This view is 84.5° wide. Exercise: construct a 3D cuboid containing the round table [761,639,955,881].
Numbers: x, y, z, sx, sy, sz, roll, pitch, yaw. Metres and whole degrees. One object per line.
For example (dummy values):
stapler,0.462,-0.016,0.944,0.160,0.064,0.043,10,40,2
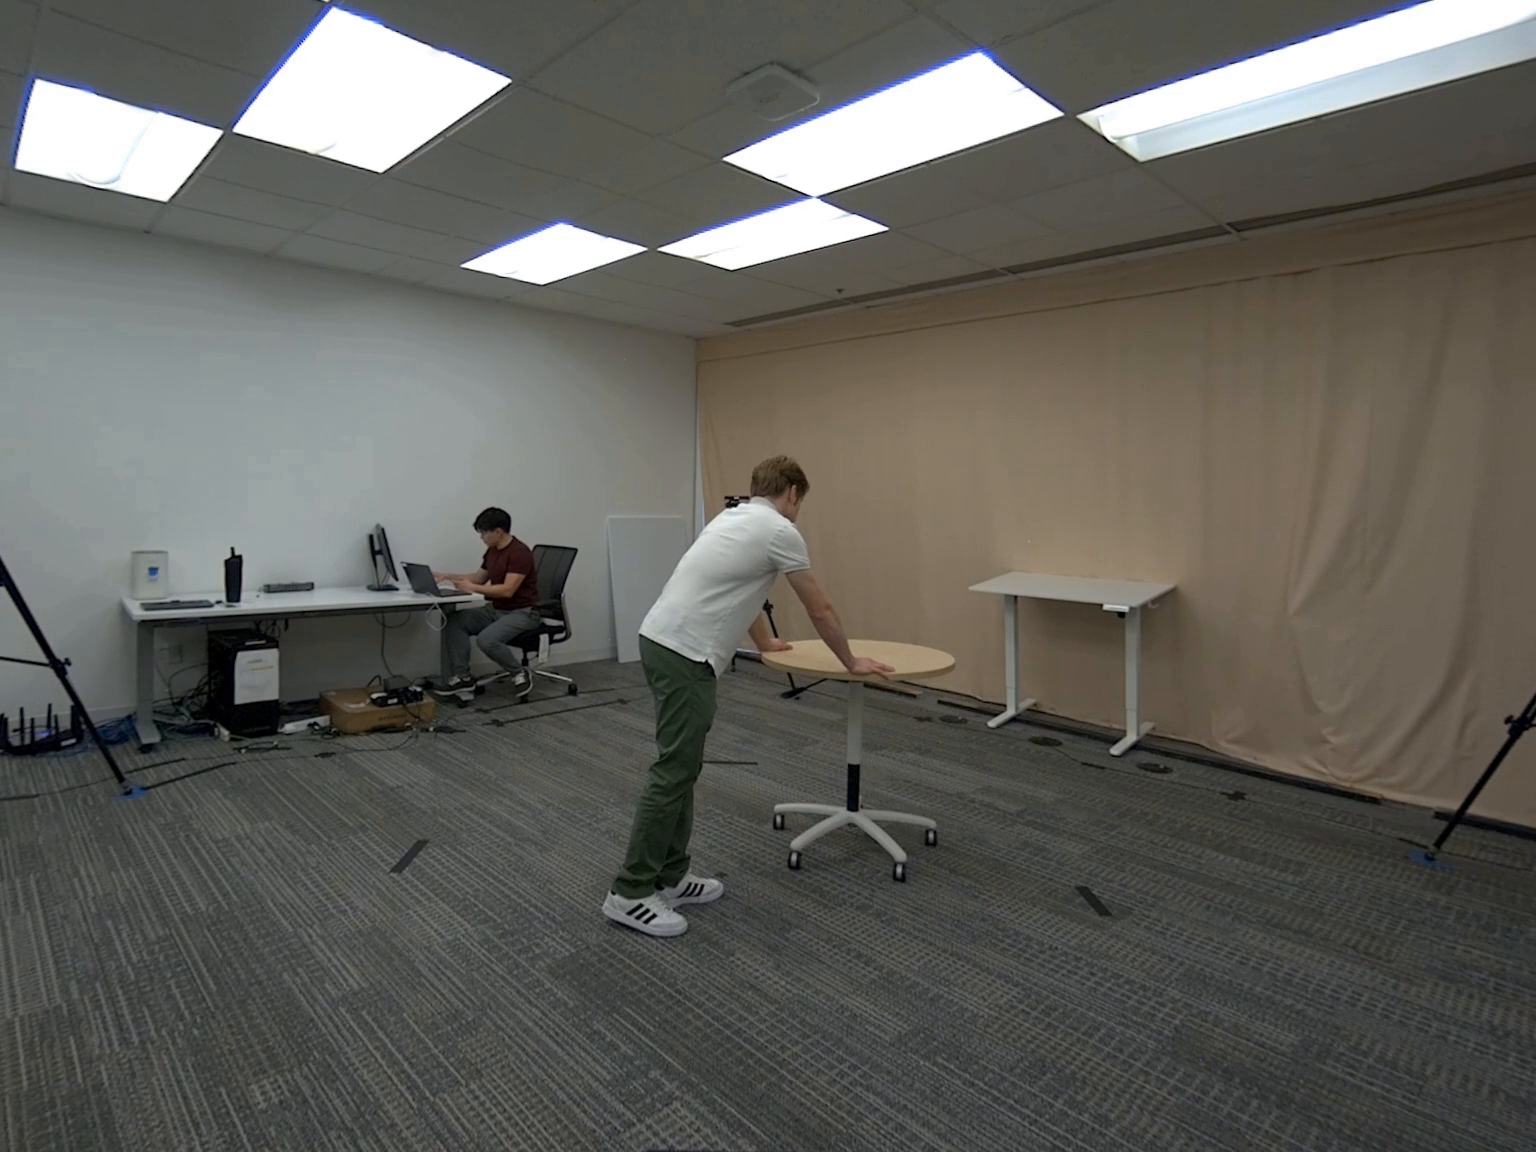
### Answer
round table,0.344,0.705,3.395,0.763,0.792,0.766,1,3,-1
